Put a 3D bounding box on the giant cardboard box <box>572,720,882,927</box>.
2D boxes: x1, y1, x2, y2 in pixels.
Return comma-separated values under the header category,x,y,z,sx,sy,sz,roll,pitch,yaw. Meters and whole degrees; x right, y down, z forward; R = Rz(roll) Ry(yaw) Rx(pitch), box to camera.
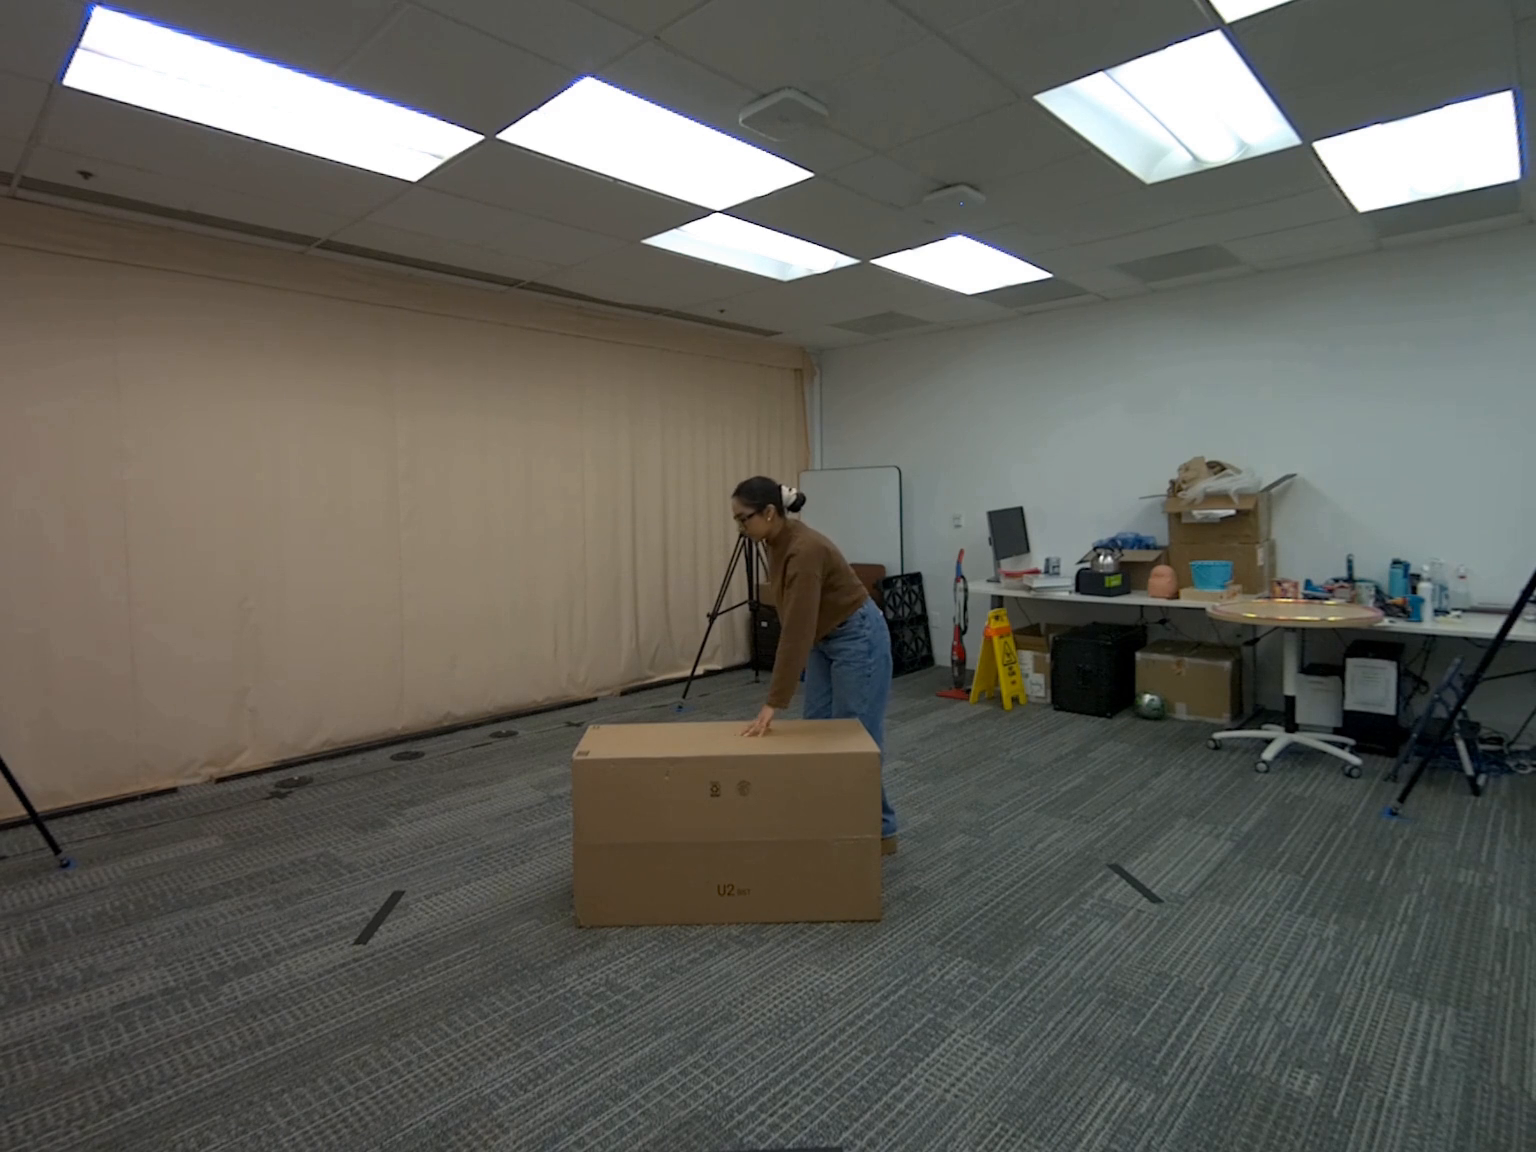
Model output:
category,x,y,z,sx,sy,sz,roll,pitch,yaw
giant cardboard box,-0.159,0.857,2.986,1.027,0.582,0.448,-1,5,0
